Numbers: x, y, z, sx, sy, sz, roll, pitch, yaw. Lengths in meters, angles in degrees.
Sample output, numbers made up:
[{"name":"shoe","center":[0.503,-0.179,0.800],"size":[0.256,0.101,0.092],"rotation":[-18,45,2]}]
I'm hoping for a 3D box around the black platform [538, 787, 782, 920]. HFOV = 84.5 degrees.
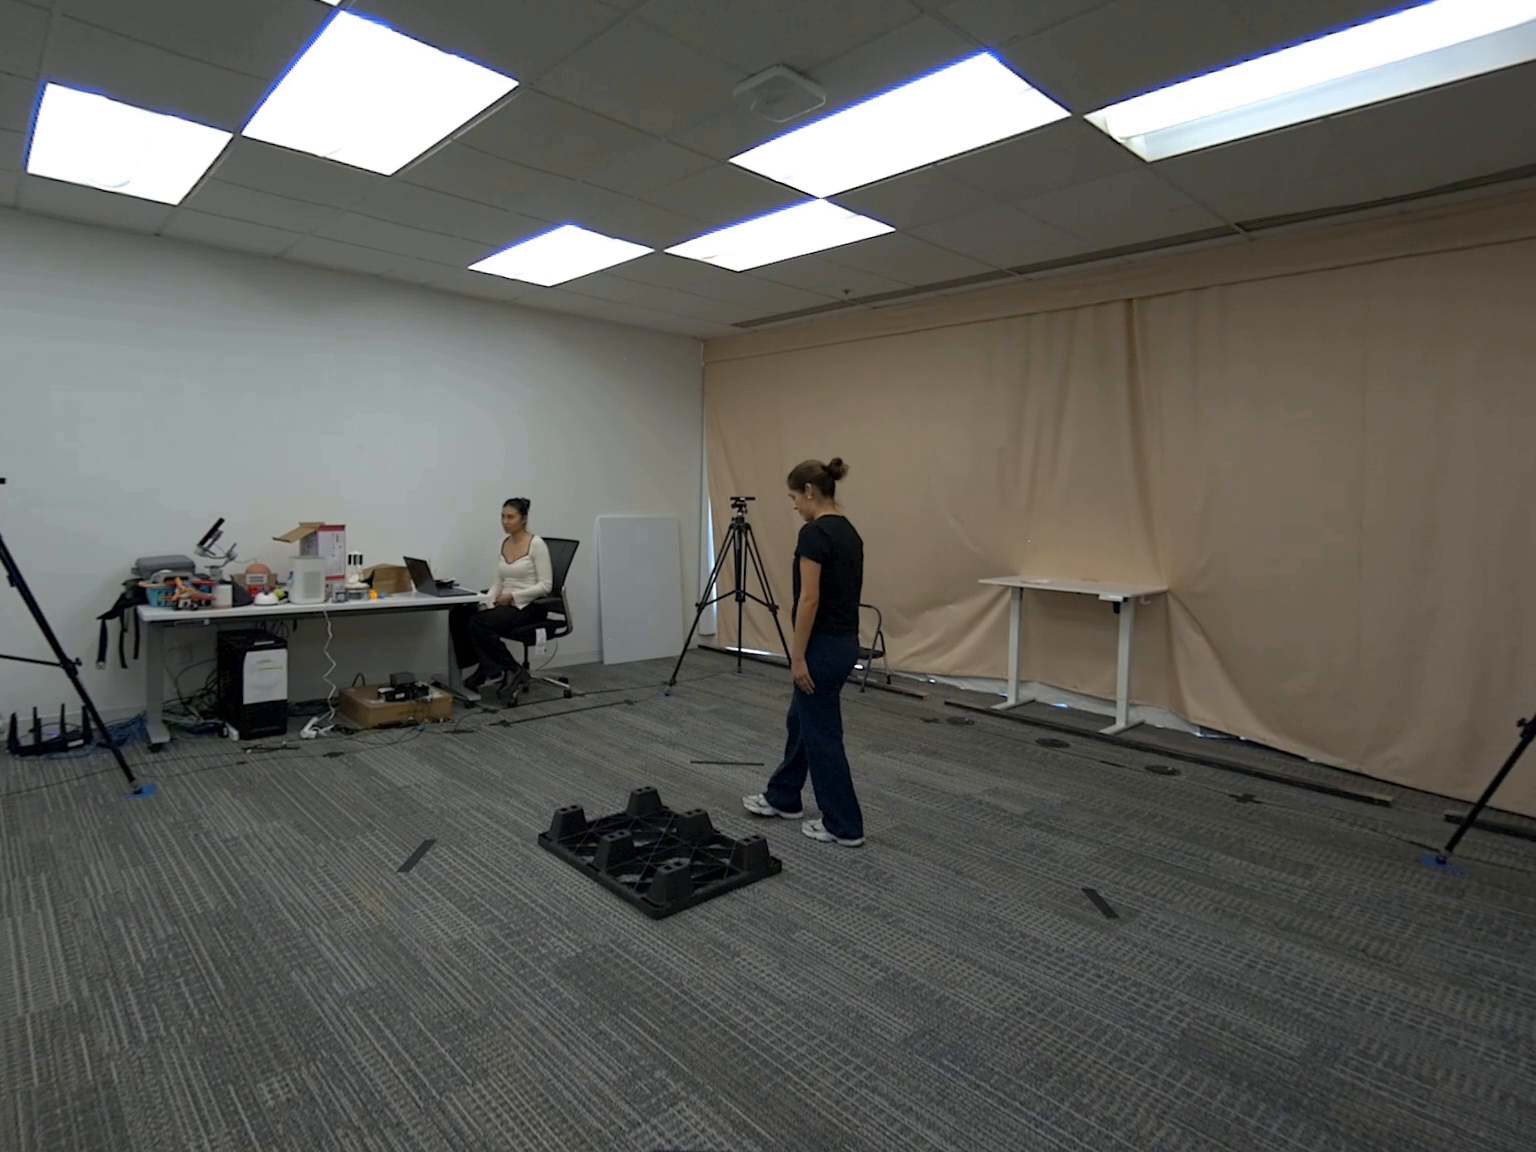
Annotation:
[{"name":"black platform","center":[-0.438,1.025,3.230],"size":[0.591,0.143,0.826],"rotation":[-3,6,-43]}]
